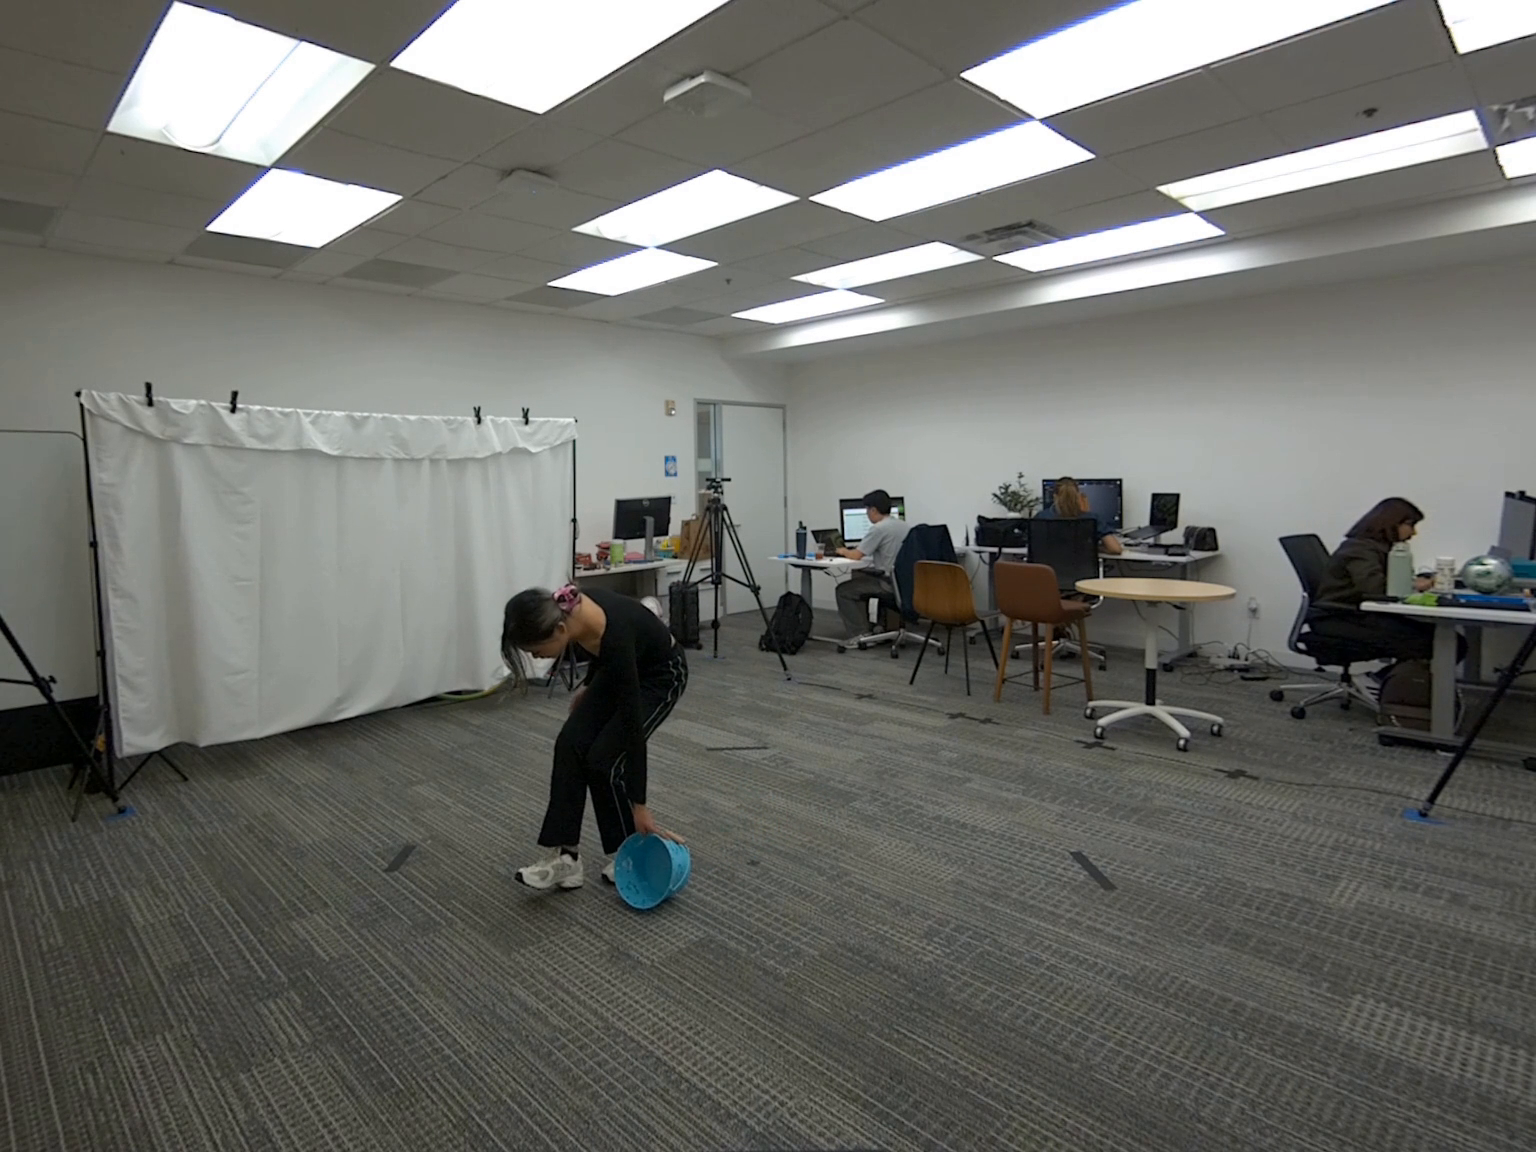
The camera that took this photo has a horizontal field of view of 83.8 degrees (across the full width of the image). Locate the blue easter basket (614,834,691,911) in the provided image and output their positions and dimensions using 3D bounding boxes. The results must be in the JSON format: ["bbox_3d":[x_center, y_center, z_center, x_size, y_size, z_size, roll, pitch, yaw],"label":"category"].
[{"bbox_3d":[-0.371,0.967,2.828,0.250,0.246,0.150,2,-12,29],"label":"blue easter basket"}]
